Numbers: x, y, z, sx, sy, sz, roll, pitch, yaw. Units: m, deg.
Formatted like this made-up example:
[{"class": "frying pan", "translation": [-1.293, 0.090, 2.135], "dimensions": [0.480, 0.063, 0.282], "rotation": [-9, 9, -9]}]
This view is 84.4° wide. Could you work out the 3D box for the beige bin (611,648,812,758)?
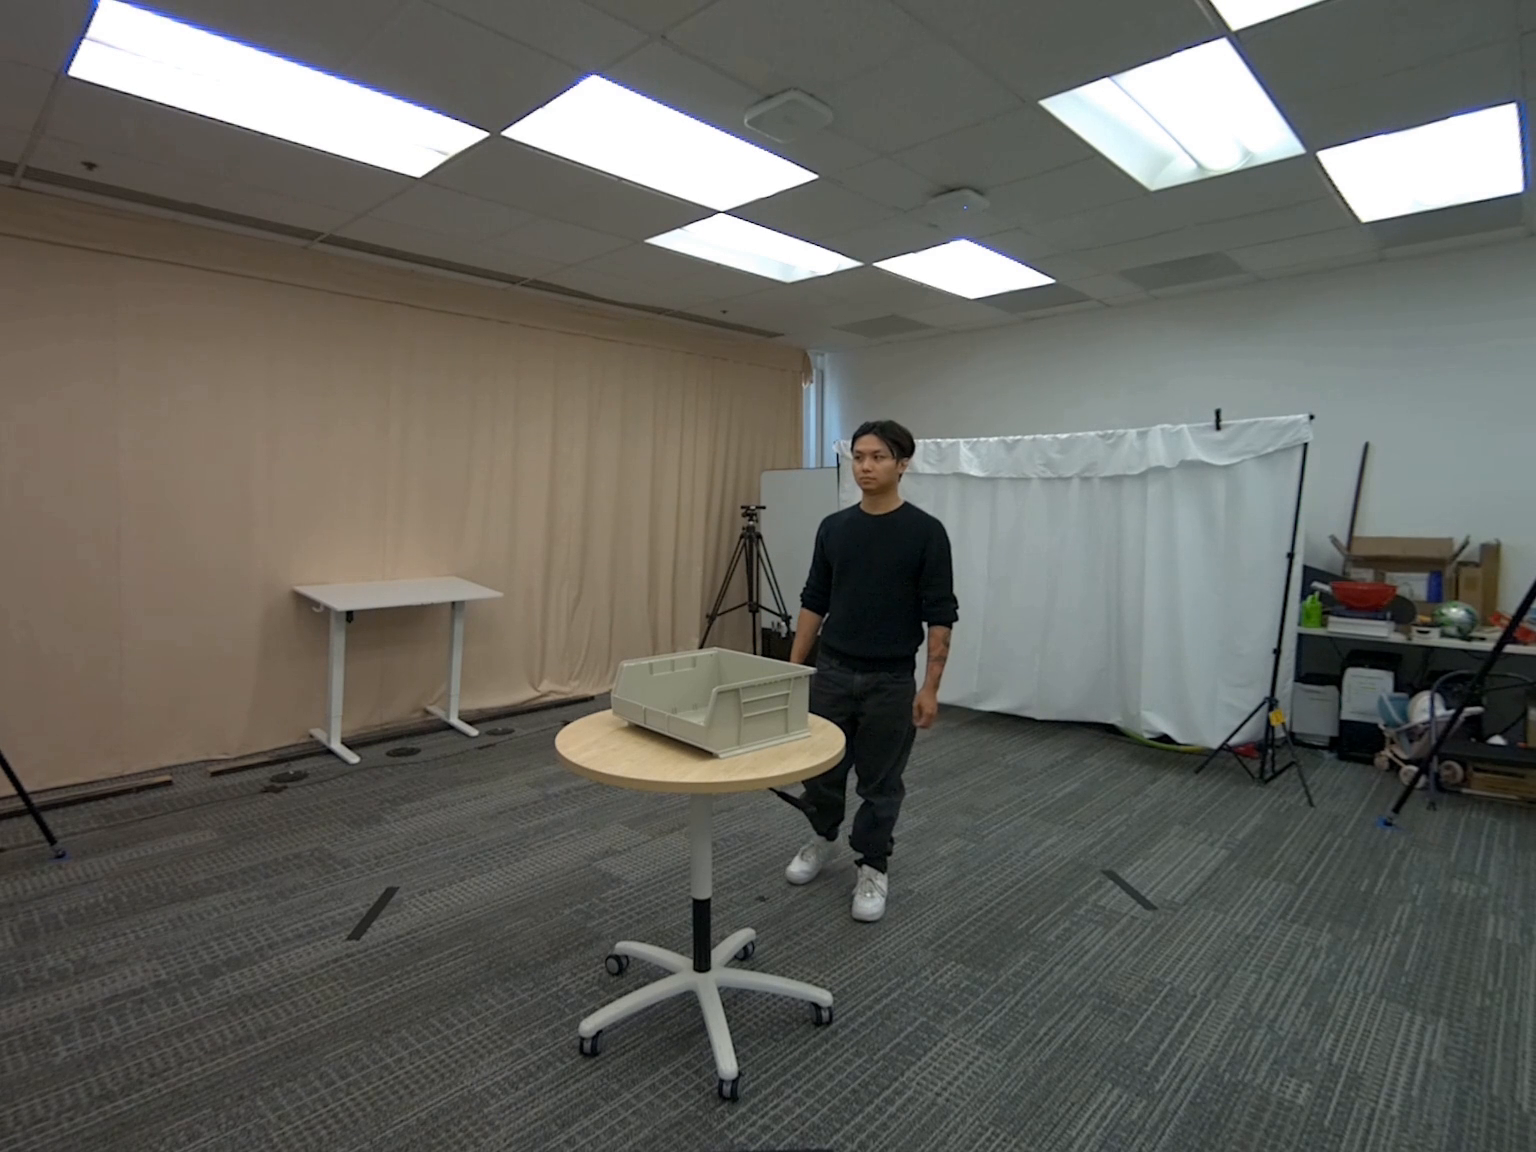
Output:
[{"class": "beige bin", "translation": [-0.148, 0.330, 2.267], "dimensions": [0.365, 0.189, 0.436], "rotation": [-2, 4, -42]}]
